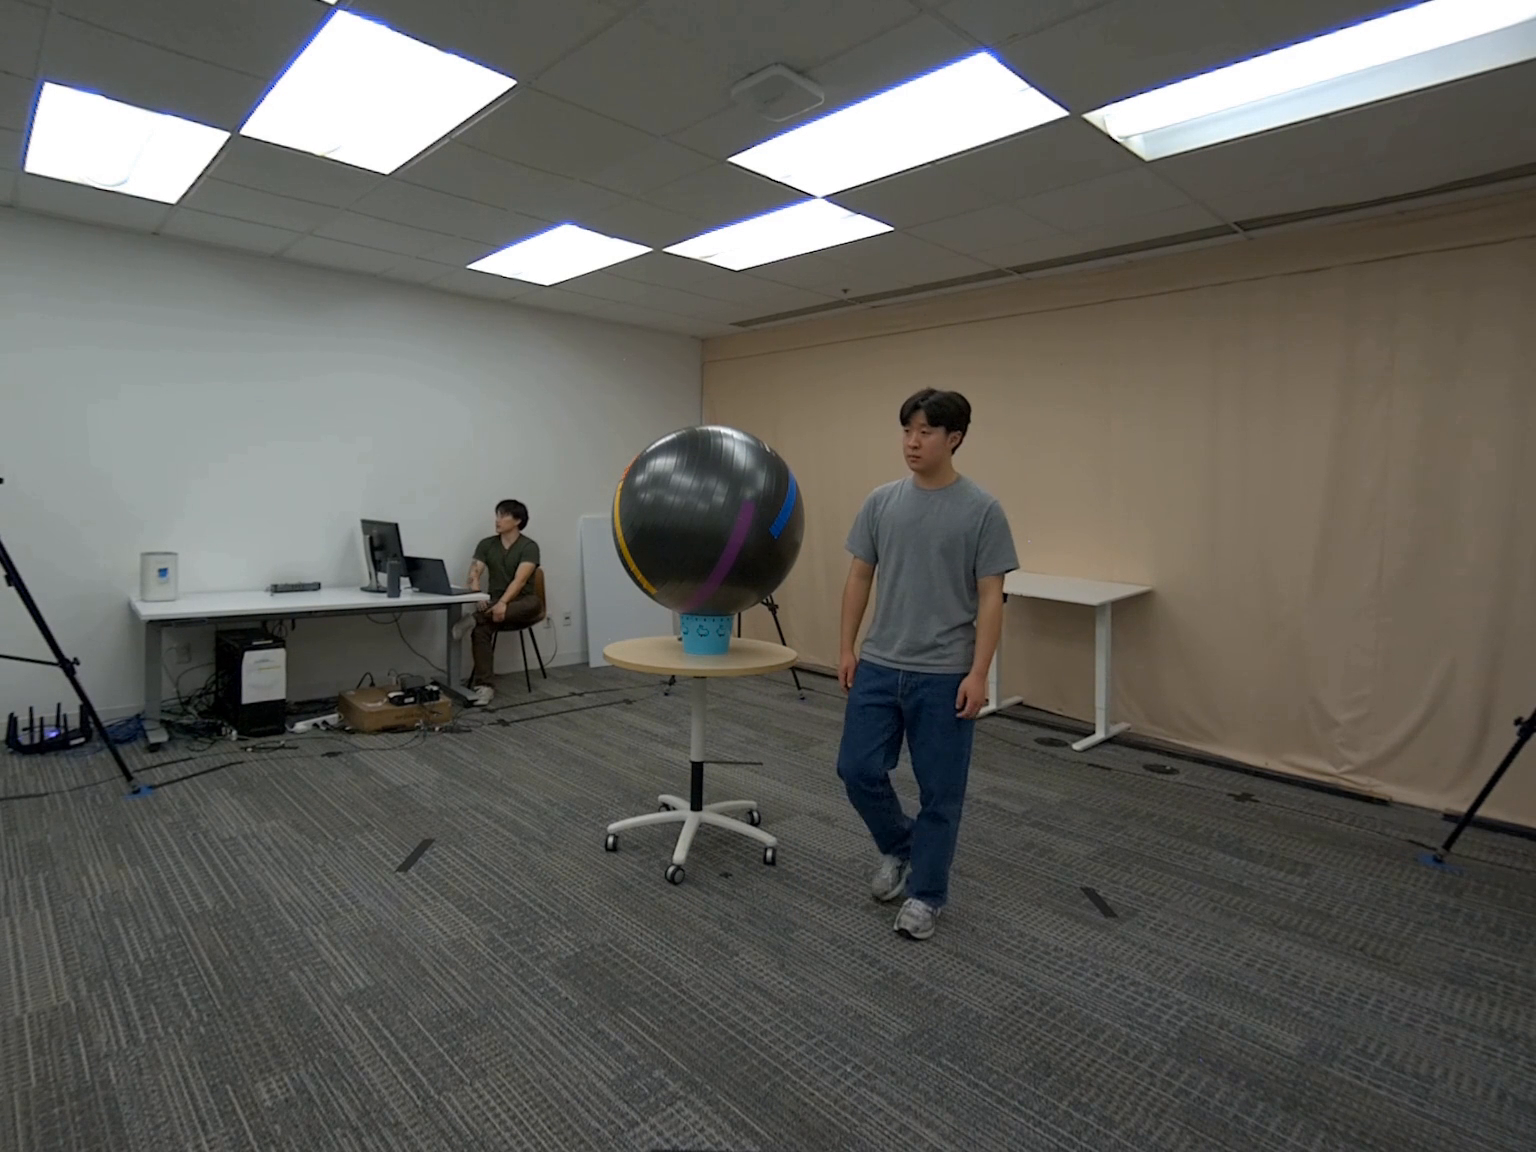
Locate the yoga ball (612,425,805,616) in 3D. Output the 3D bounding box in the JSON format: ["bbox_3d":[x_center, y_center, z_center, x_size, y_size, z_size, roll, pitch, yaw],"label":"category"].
[{"bbox_3d":[-0.242,-0.213,3.331,0.757,0.756,0.761,1,4,-1],"label":"yoga ball"}]
